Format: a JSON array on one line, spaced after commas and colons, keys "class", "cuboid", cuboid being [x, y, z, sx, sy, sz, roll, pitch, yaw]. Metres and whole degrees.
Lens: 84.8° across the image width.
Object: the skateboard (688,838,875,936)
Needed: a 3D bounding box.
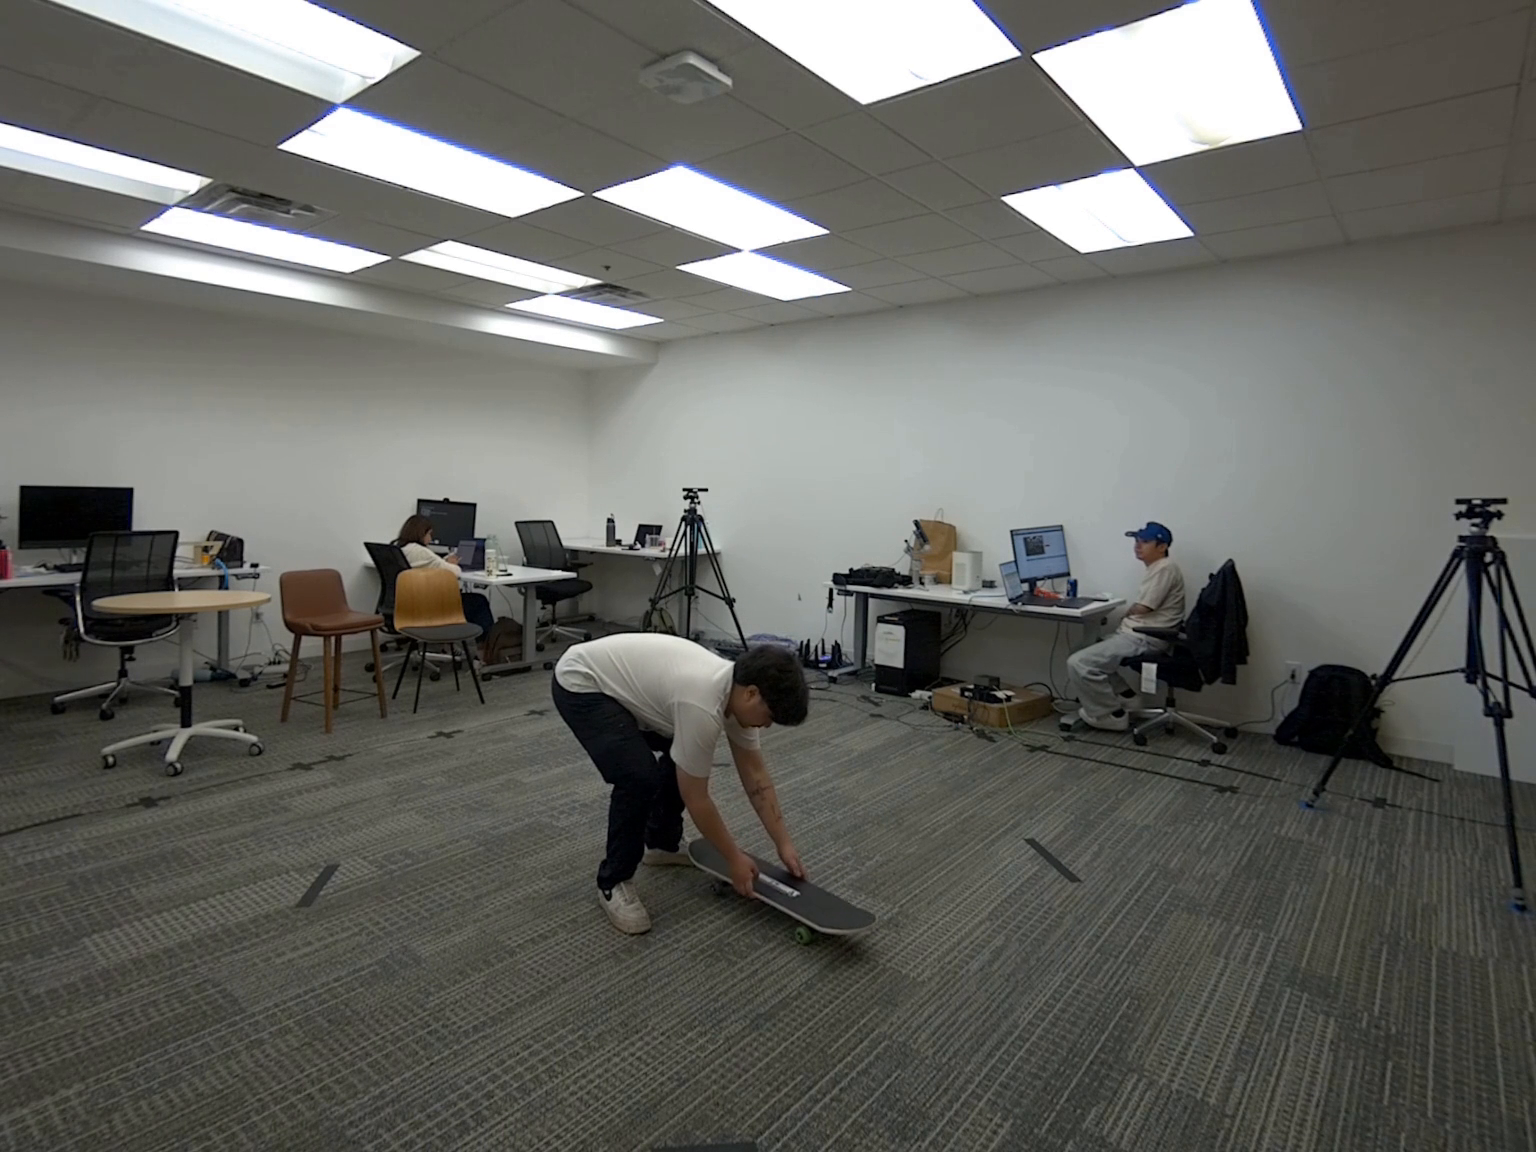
[{"class": "skateboard", "cuboid": [0.013, 1.043, 2.808, 0.188, 0.110, 0.813, -4, 8, -44]}]
